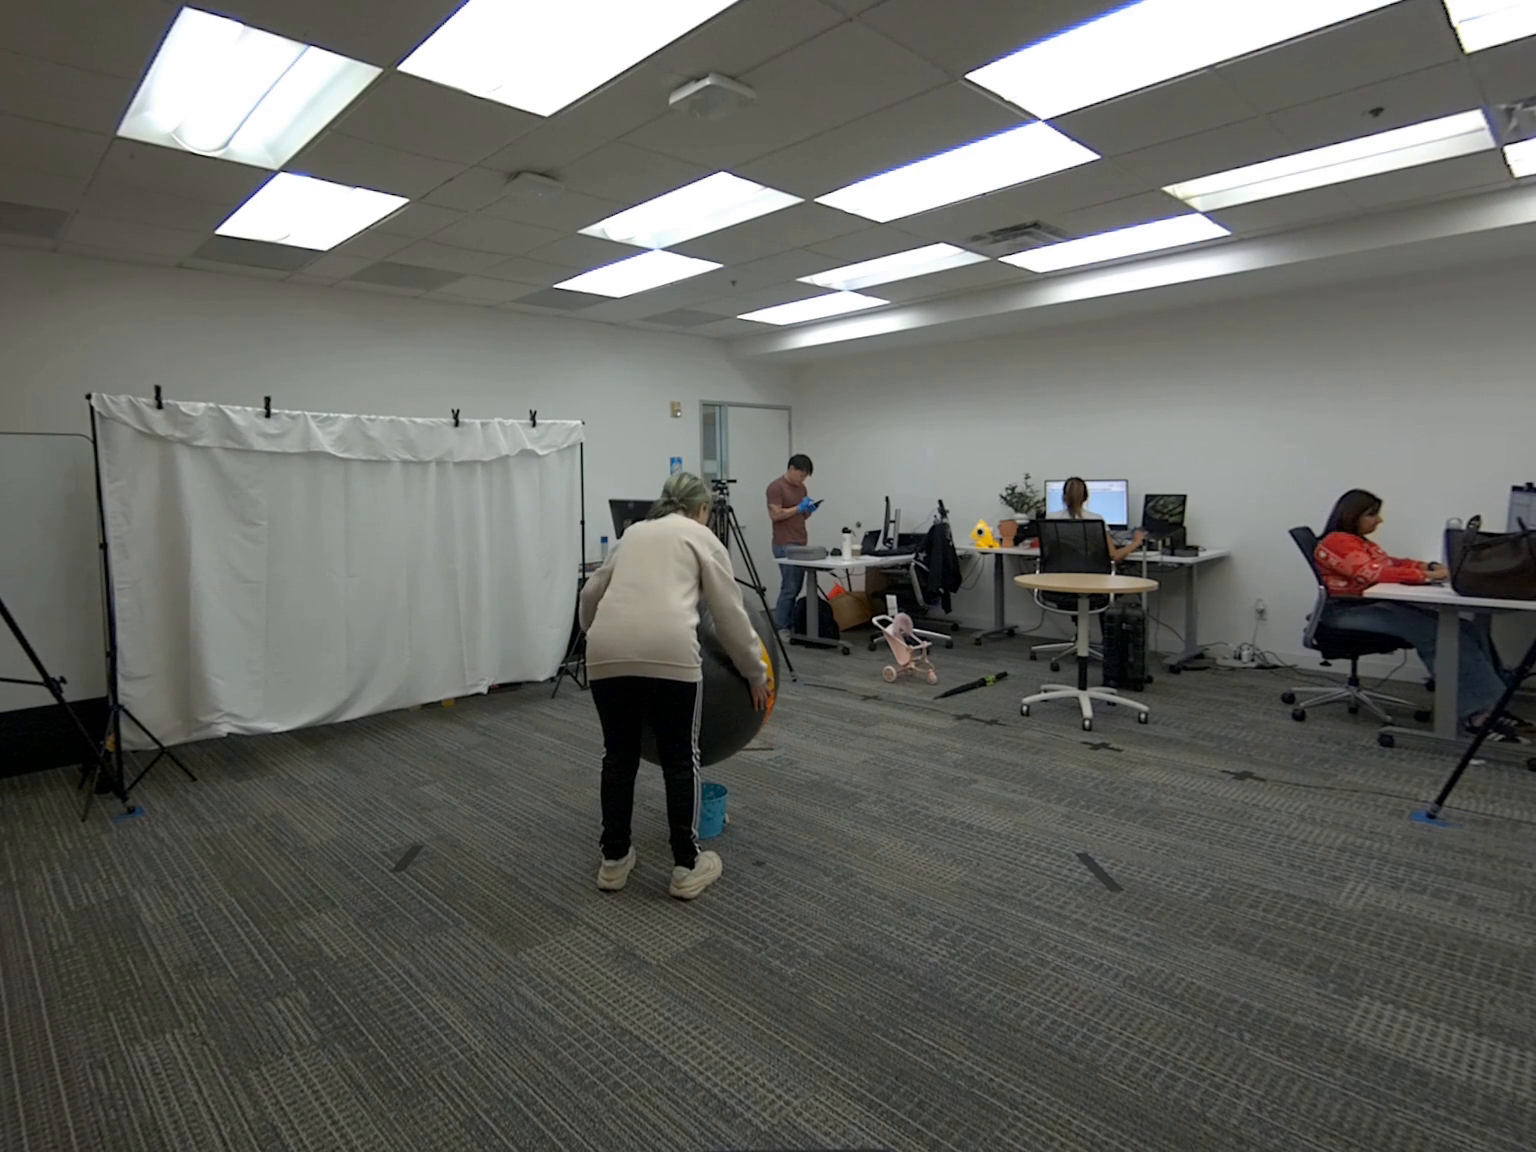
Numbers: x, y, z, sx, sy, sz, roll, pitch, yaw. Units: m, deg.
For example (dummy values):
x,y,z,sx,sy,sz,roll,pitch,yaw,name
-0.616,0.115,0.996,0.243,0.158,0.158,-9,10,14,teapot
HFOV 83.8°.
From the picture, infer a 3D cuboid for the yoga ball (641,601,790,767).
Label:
x,y,z,sx,sy,sz,roll,pitch,yaw,name
-0.329,0.382,3.415,0.757,0.755,0.762,-1,5,-2,yoga ball
